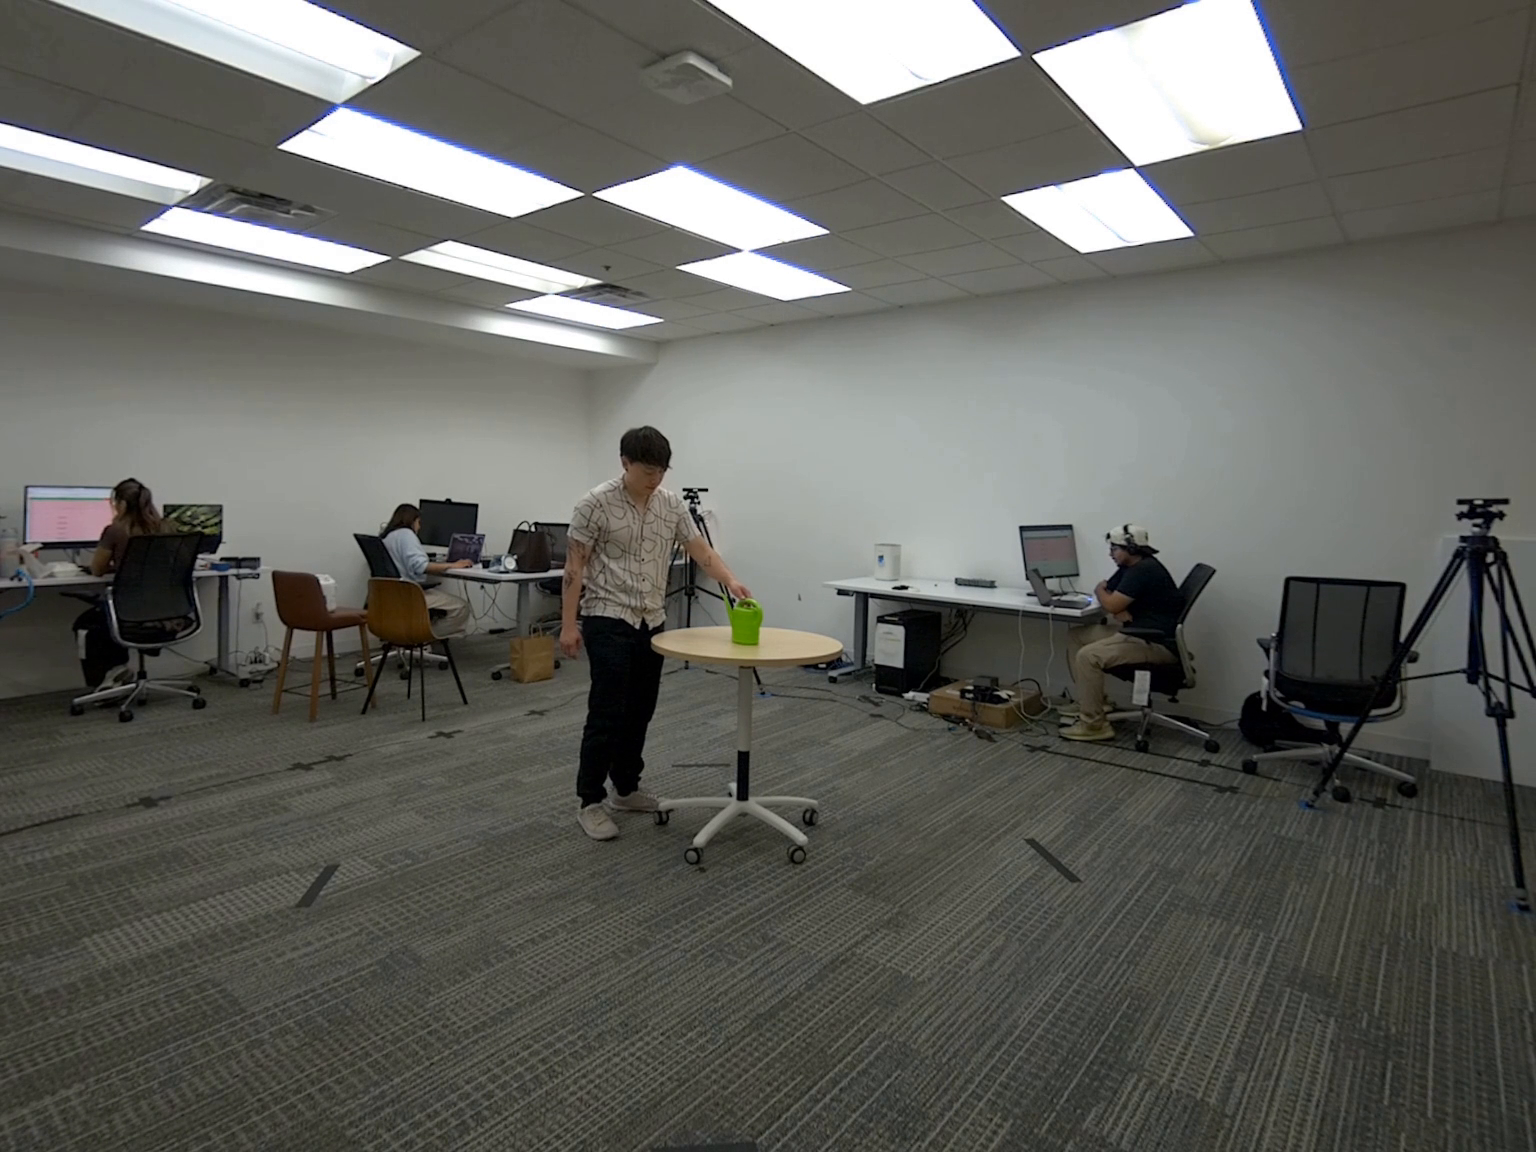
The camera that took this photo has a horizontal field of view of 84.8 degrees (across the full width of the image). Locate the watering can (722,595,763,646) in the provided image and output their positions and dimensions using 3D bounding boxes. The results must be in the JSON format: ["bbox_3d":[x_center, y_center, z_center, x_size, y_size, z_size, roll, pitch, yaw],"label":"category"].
[{"bbox_3d":[-0.117,0.166,3.414,0.096,0.176,0.285,-1,6,-22],"label":"watering can"}]
